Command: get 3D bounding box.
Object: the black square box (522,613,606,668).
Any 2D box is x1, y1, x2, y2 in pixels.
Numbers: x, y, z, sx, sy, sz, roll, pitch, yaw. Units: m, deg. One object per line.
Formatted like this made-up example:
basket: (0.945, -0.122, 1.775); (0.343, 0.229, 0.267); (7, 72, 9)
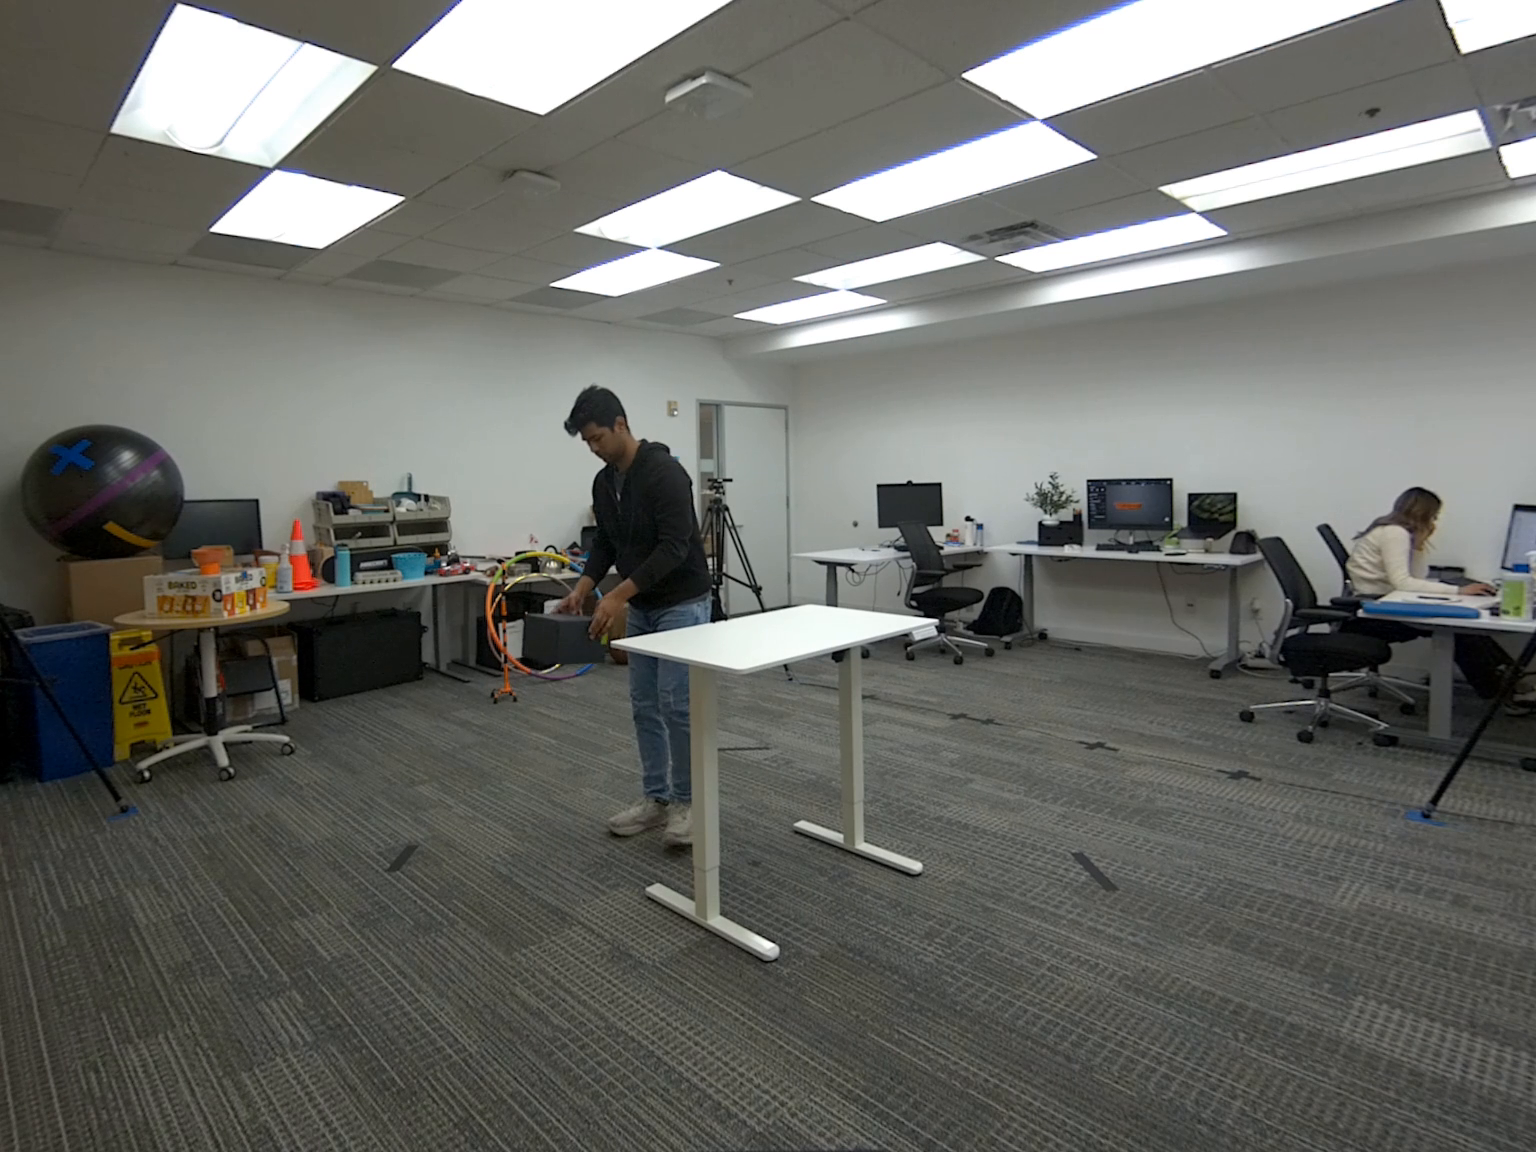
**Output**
black square box: (-0.730, 0.238, 3.105); (0.235, 0.156, 0.210); (5, 1, 44)
